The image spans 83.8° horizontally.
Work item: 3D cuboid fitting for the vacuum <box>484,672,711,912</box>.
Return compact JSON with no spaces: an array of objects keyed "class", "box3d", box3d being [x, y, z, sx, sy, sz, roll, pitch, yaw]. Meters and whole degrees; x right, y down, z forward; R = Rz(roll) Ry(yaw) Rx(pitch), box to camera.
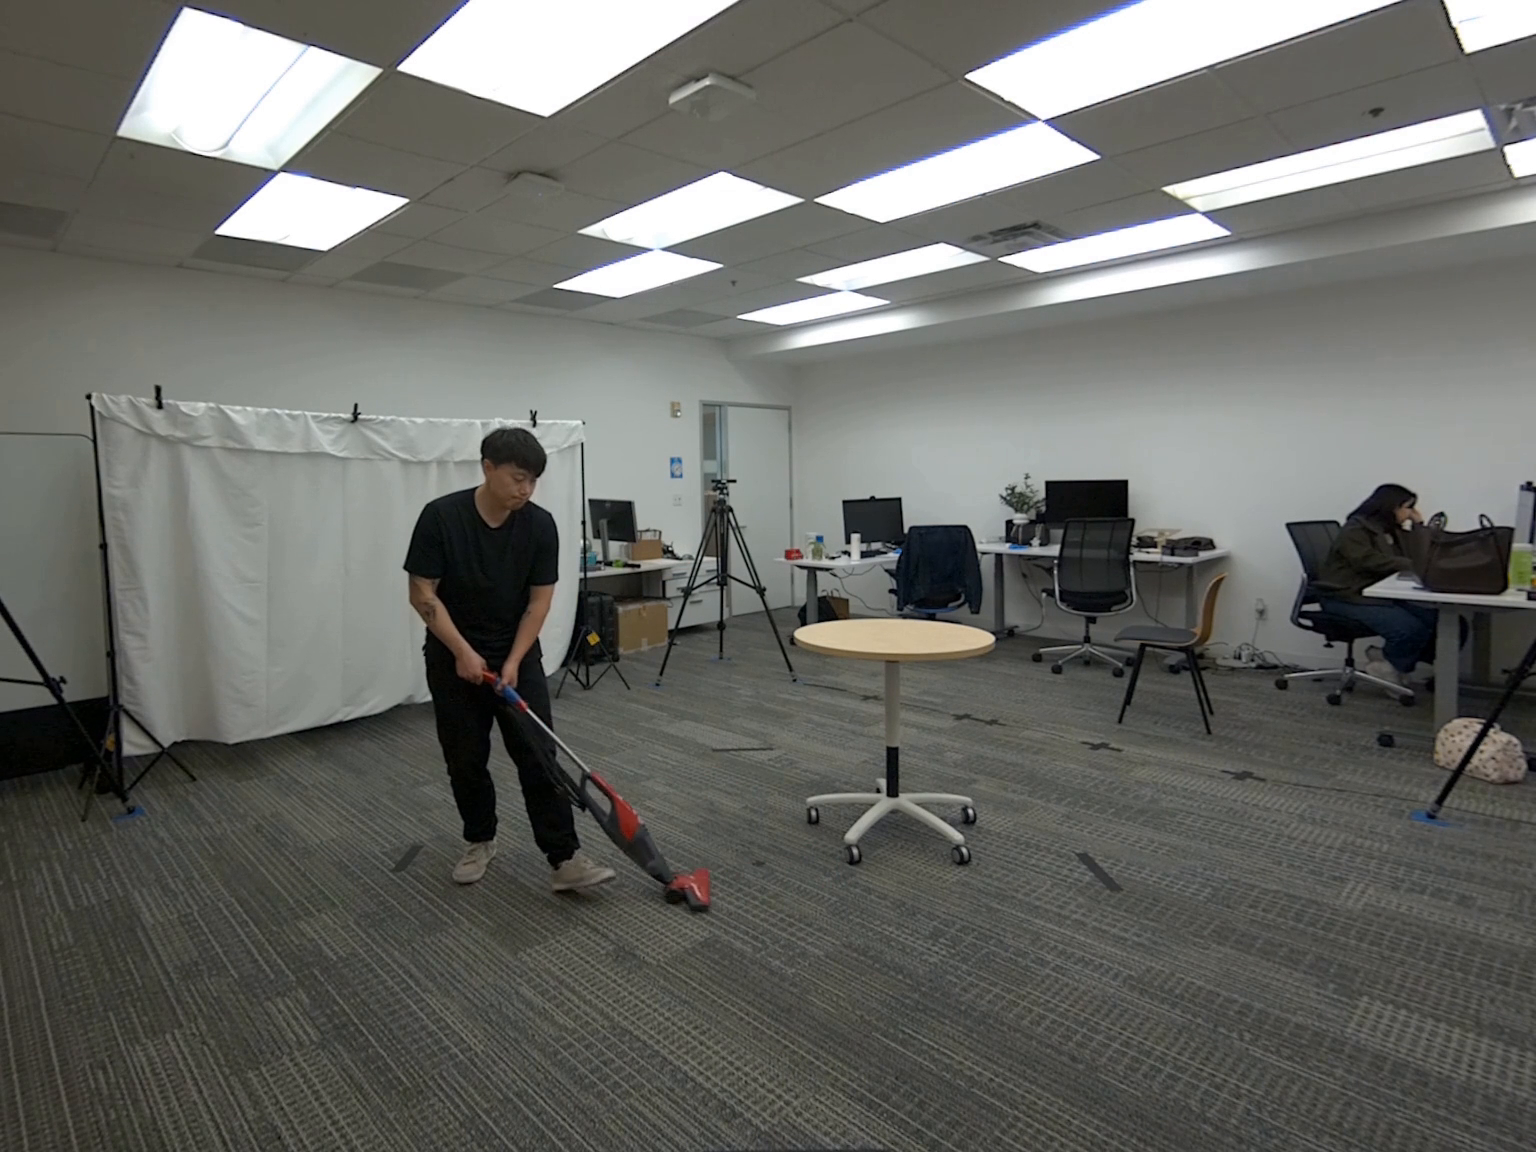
[{"class":"vacuum","box3d":[-0.607,0.689,2.851,0.144,1.044,0.254,-44,4,0]}]
